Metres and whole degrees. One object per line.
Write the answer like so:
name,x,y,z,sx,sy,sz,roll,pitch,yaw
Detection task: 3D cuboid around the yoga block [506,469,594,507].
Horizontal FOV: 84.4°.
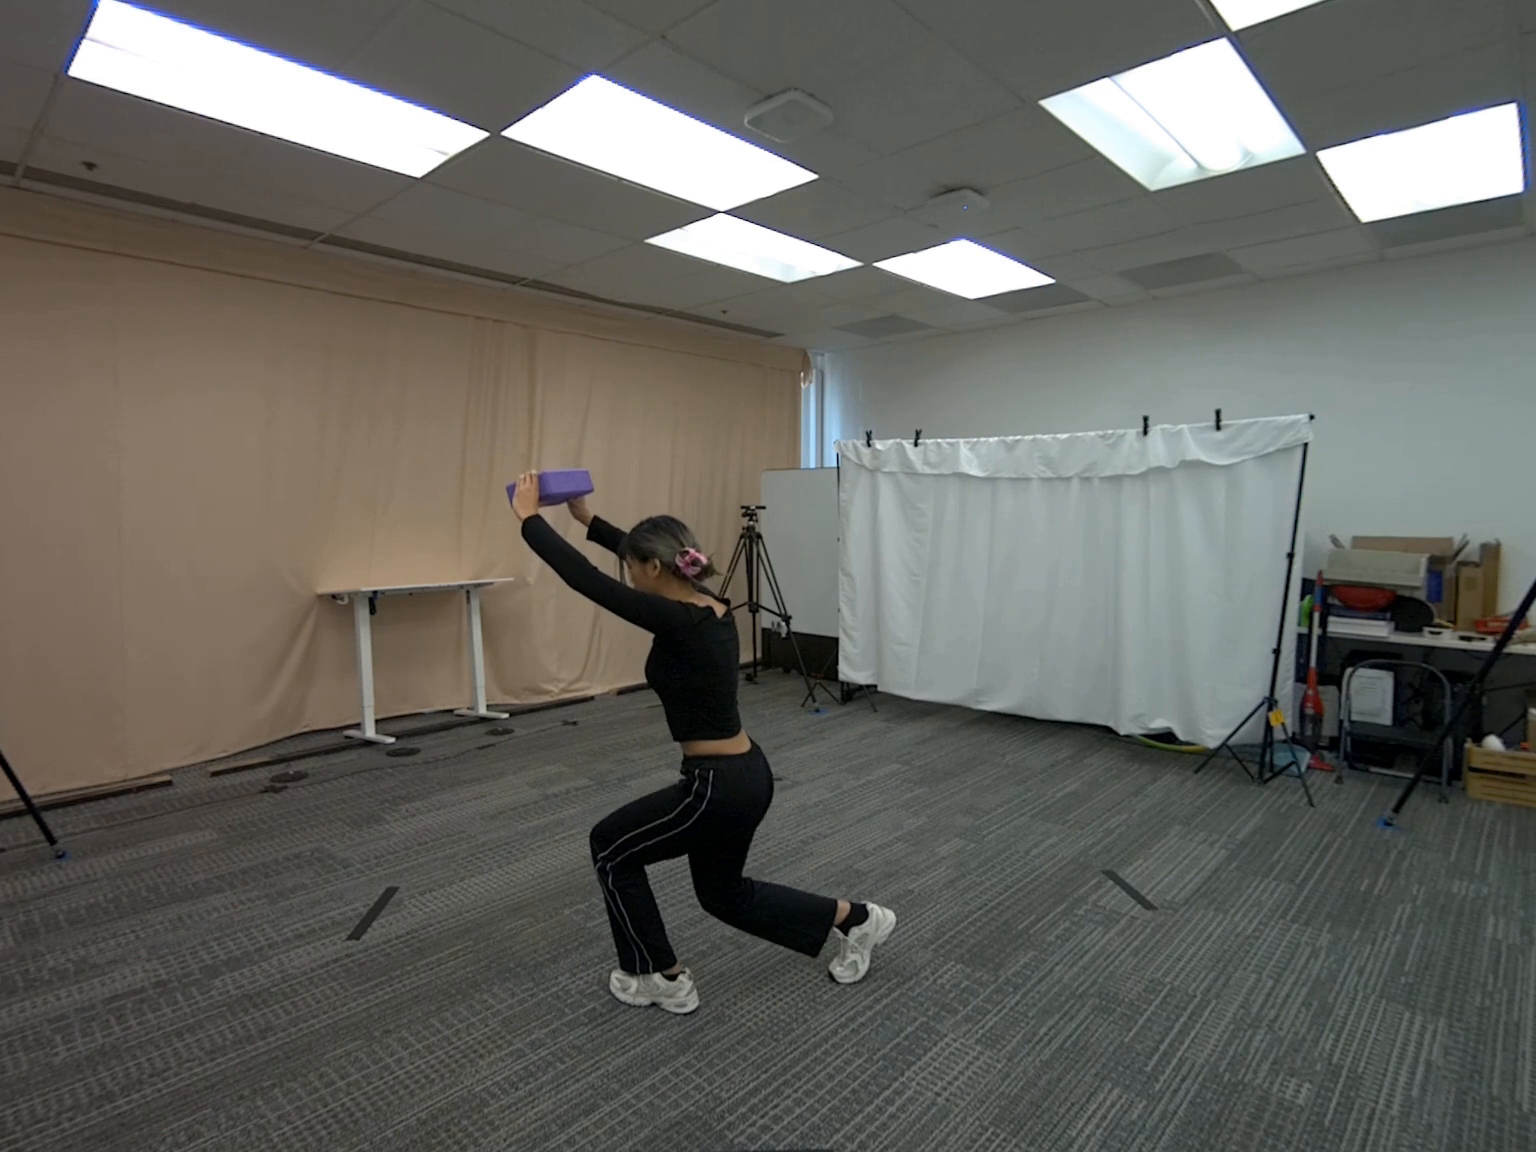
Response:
yoga block,-0.628,-0.256,2.426,0.151,0.076,0.226,-16,3,21
